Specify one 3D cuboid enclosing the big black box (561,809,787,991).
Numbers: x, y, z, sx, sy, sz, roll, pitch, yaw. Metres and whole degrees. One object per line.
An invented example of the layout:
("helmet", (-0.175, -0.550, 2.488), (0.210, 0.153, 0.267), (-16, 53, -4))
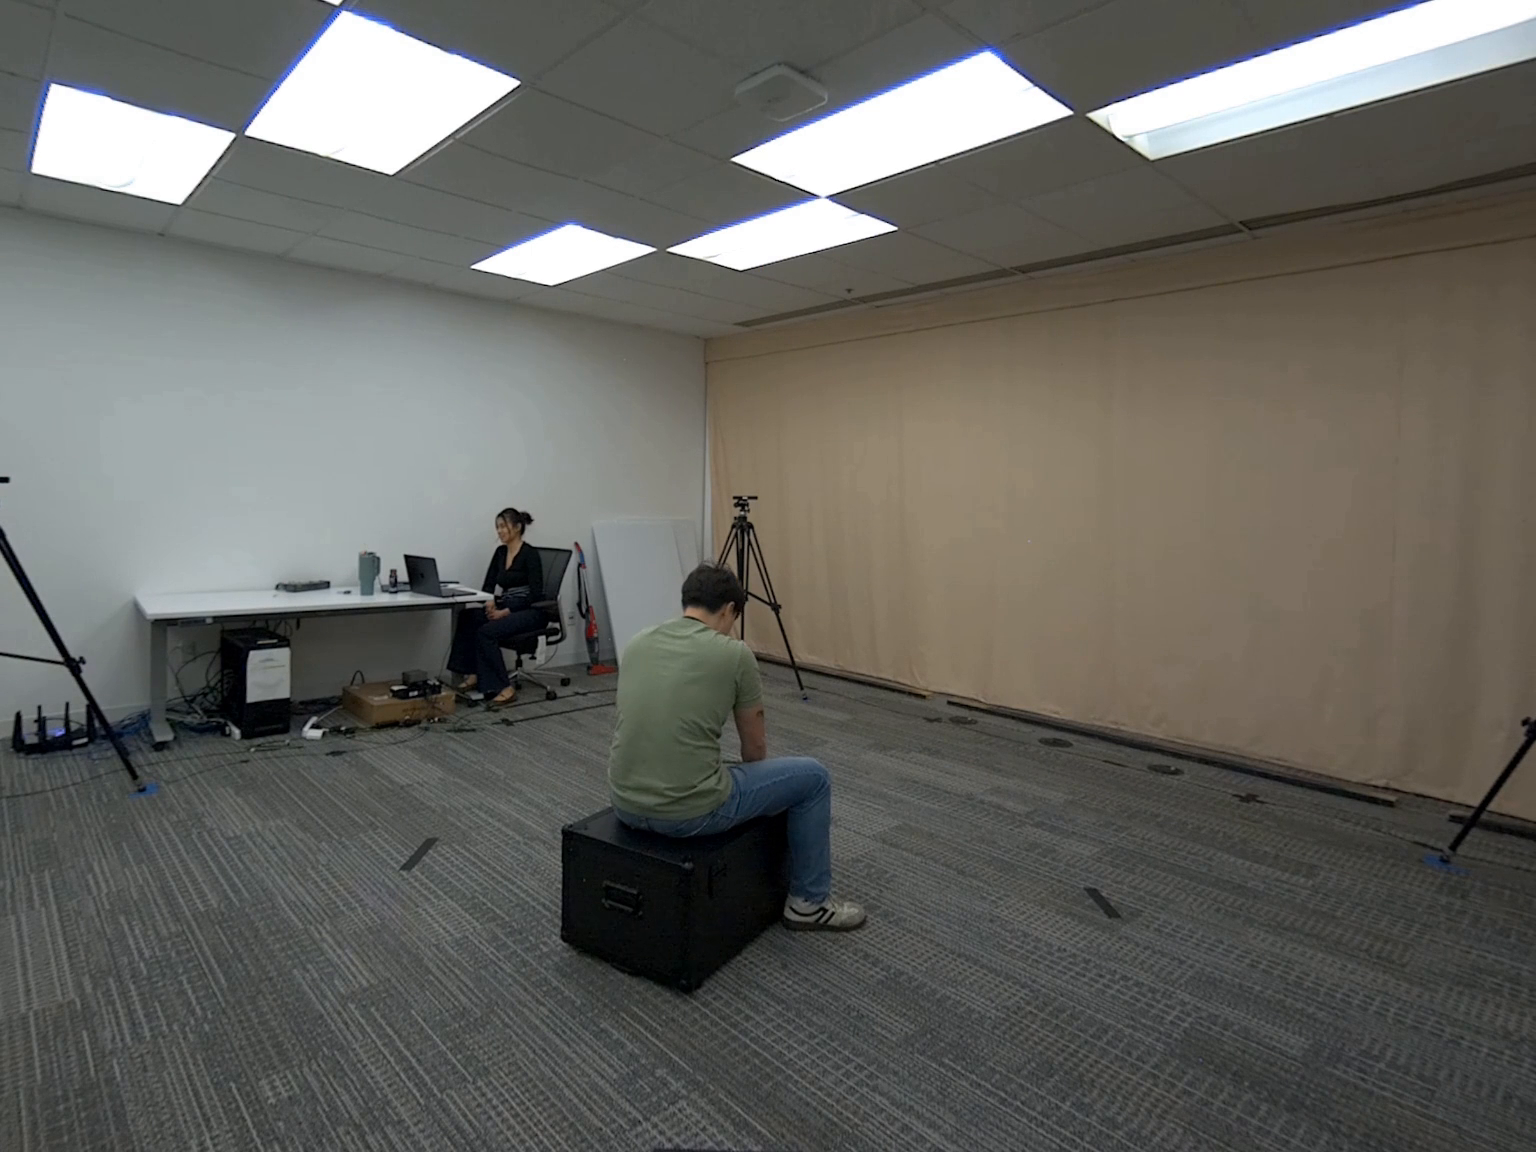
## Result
("big black box", (-0.218, 0.943, 2.784), (0.533, 0.395, 0.845), (3, 6, 30))
